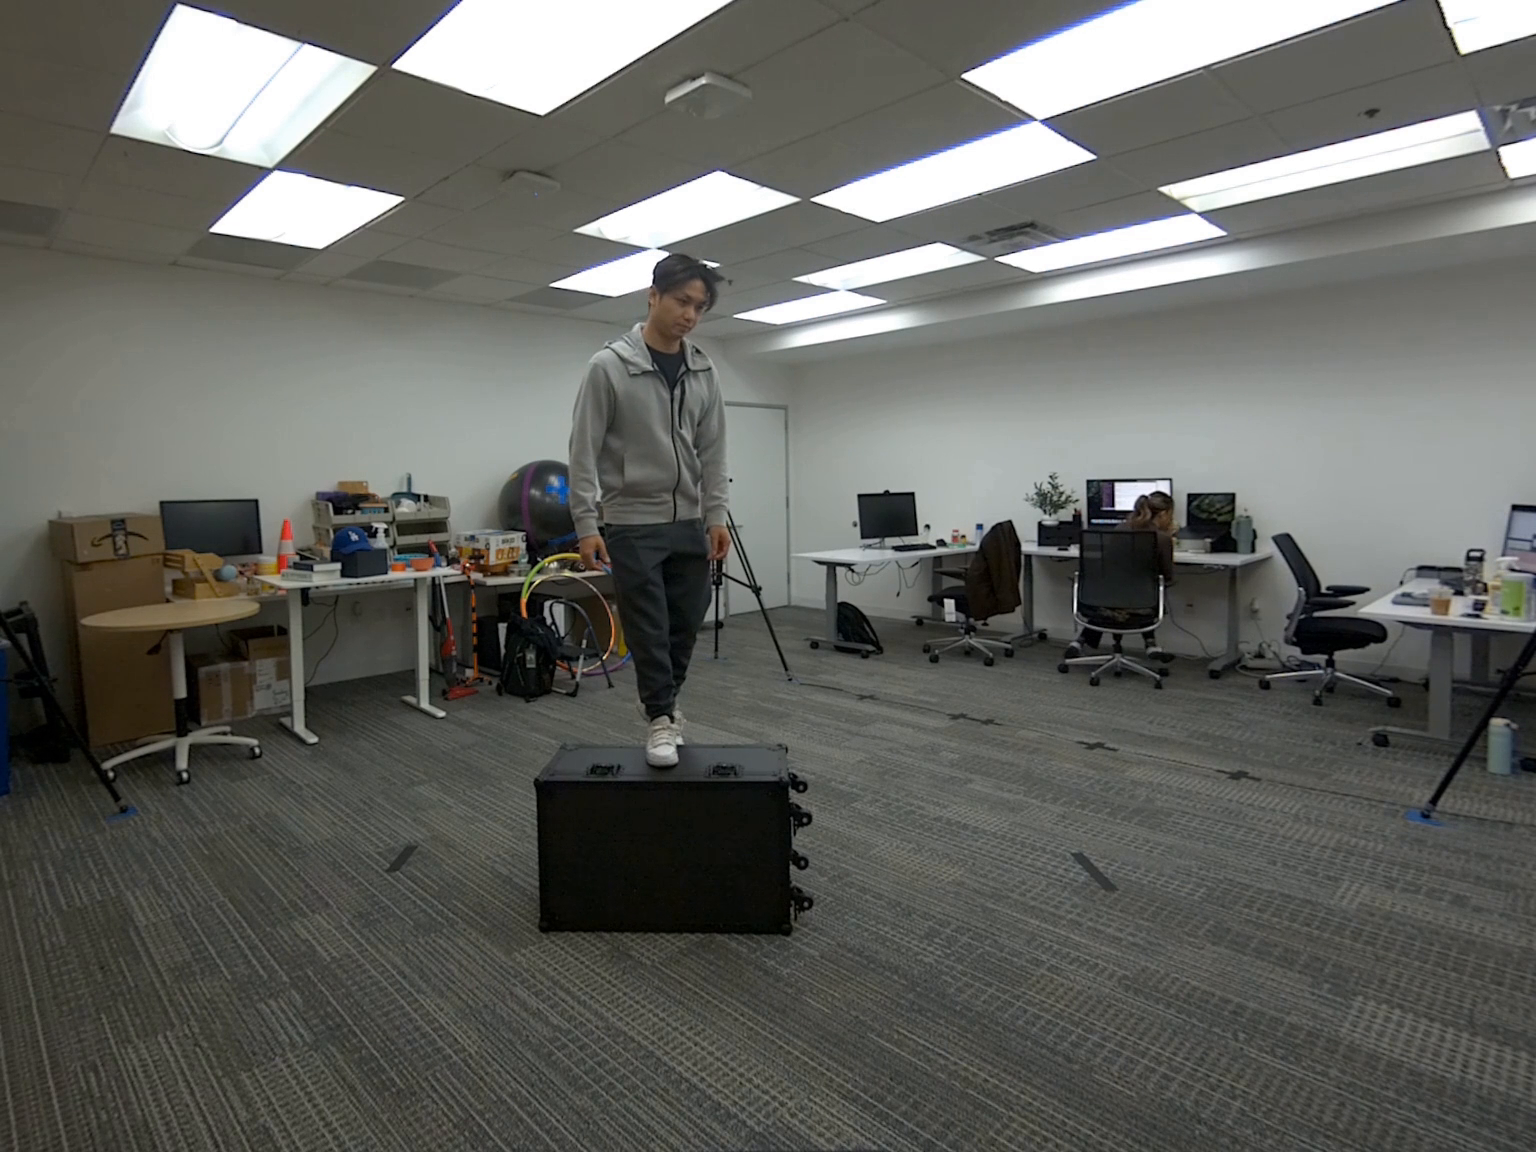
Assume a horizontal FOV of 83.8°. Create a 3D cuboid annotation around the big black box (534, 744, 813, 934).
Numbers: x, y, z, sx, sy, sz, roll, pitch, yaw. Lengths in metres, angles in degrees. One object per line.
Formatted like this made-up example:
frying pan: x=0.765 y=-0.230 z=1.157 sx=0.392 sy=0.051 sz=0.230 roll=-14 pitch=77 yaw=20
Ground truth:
big black box: x=-0.290 y=0.843 z=2.807 sx=0.865 sy=0.519 sz=0.396 roll=-1 pitch=4 yaw=3
